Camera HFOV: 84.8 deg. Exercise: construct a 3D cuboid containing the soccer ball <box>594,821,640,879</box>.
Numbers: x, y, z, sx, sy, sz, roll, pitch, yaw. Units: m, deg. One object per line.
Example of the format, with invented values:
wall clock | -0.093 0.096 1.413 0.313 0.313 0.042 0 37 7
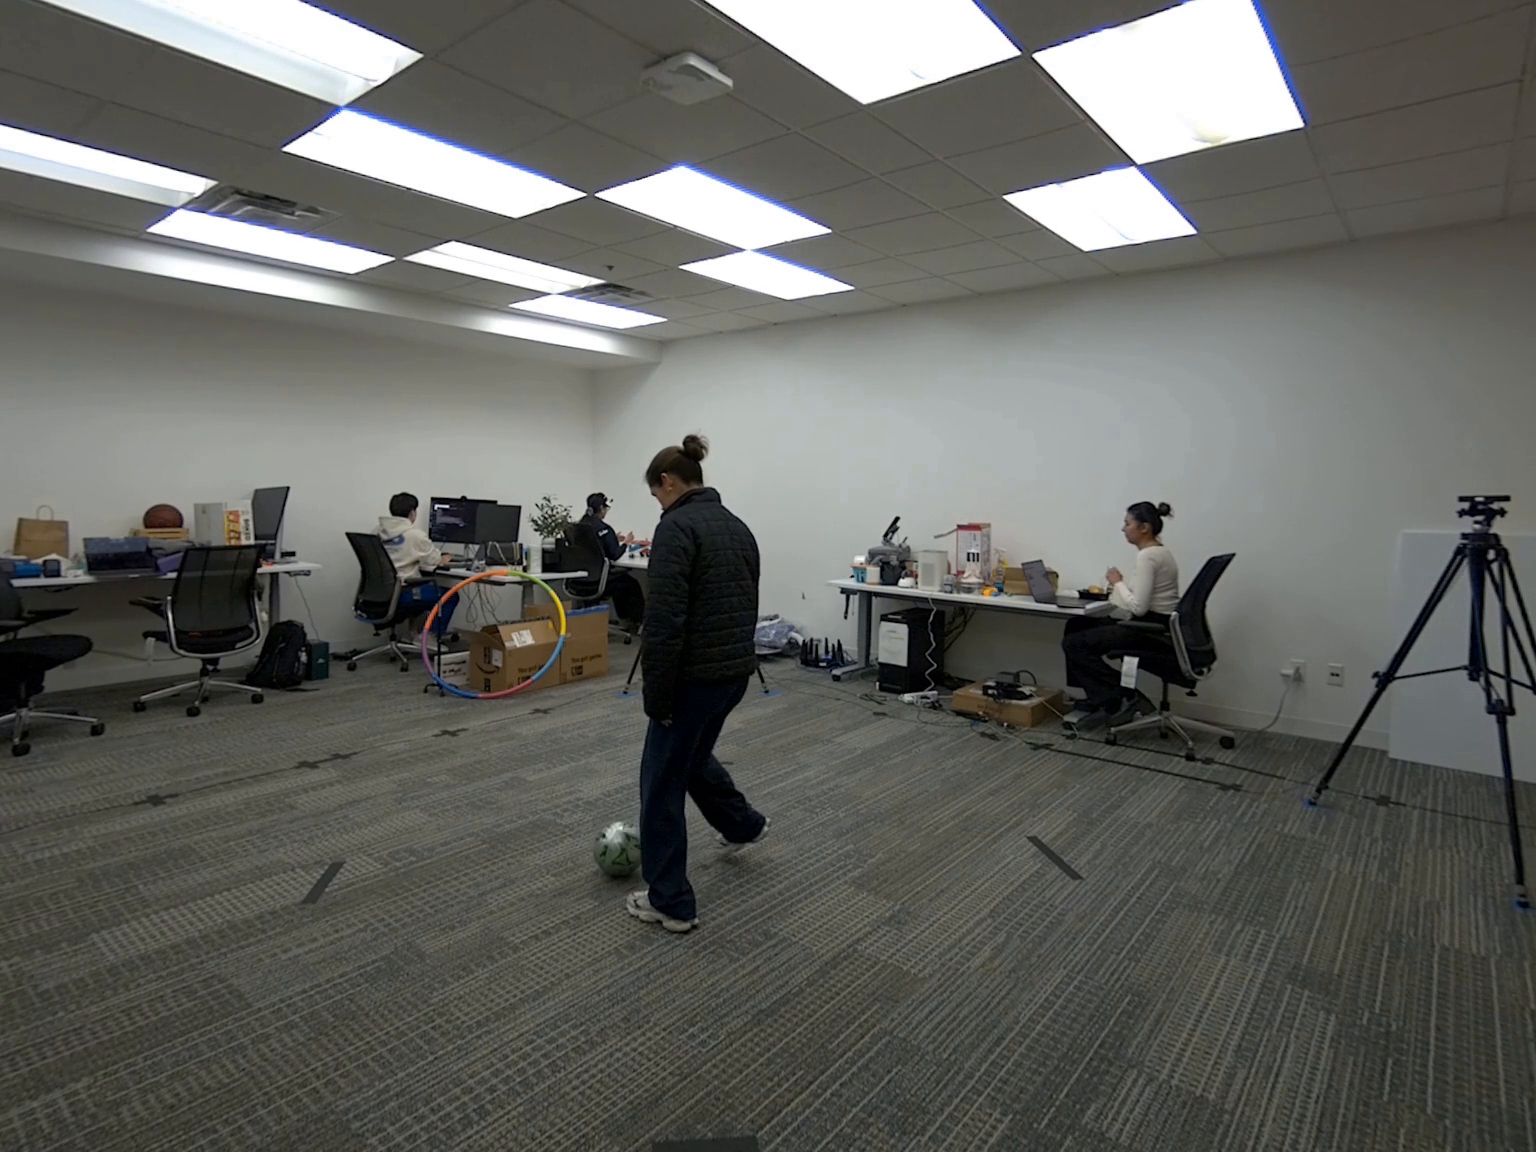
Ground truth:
soccer ball | -0.540 0.974 3.055 0.187 0.187 0.188 1 4 -2
